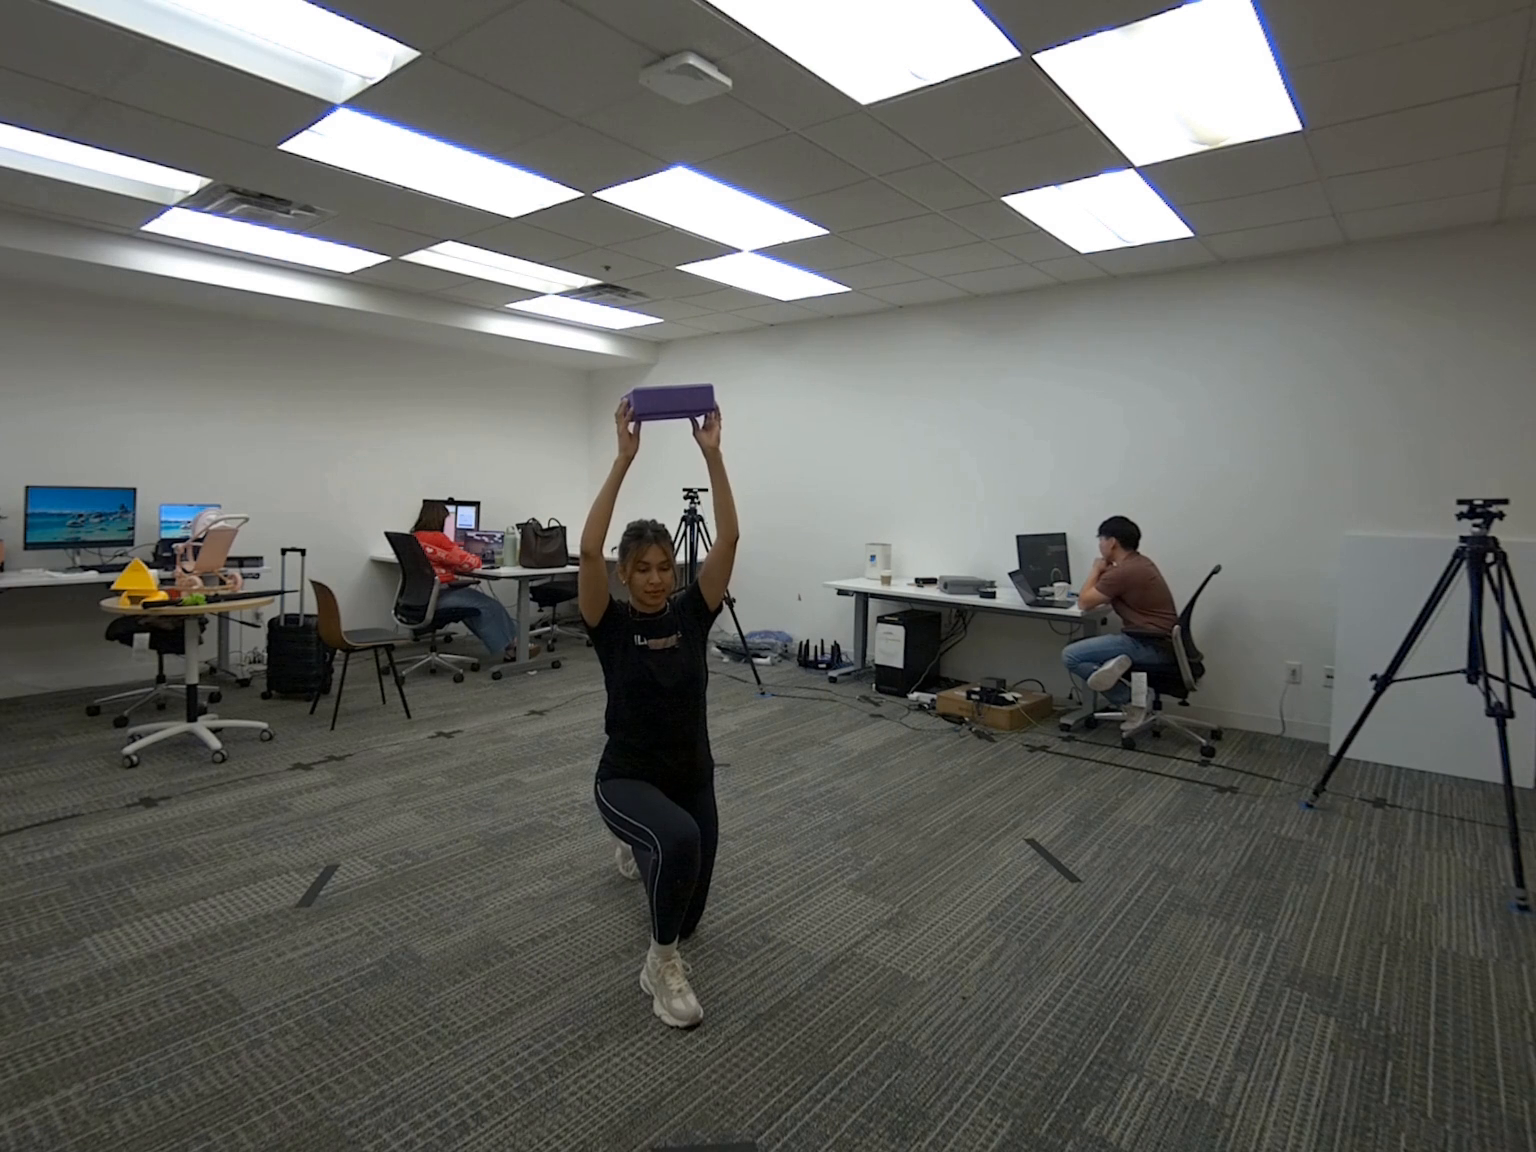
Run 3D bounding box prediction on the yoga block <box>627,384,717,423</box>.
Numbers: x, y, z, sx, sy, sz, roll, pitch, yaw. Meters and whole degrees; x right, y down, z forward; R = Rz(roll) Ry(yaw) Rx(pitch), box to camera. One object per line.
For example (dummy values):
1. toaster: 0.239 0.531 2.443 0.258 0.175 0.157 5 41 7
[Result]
1. yoga block: -0.275 -0.488 2.325 0.225 0.076 0.152 -8 5 -19
